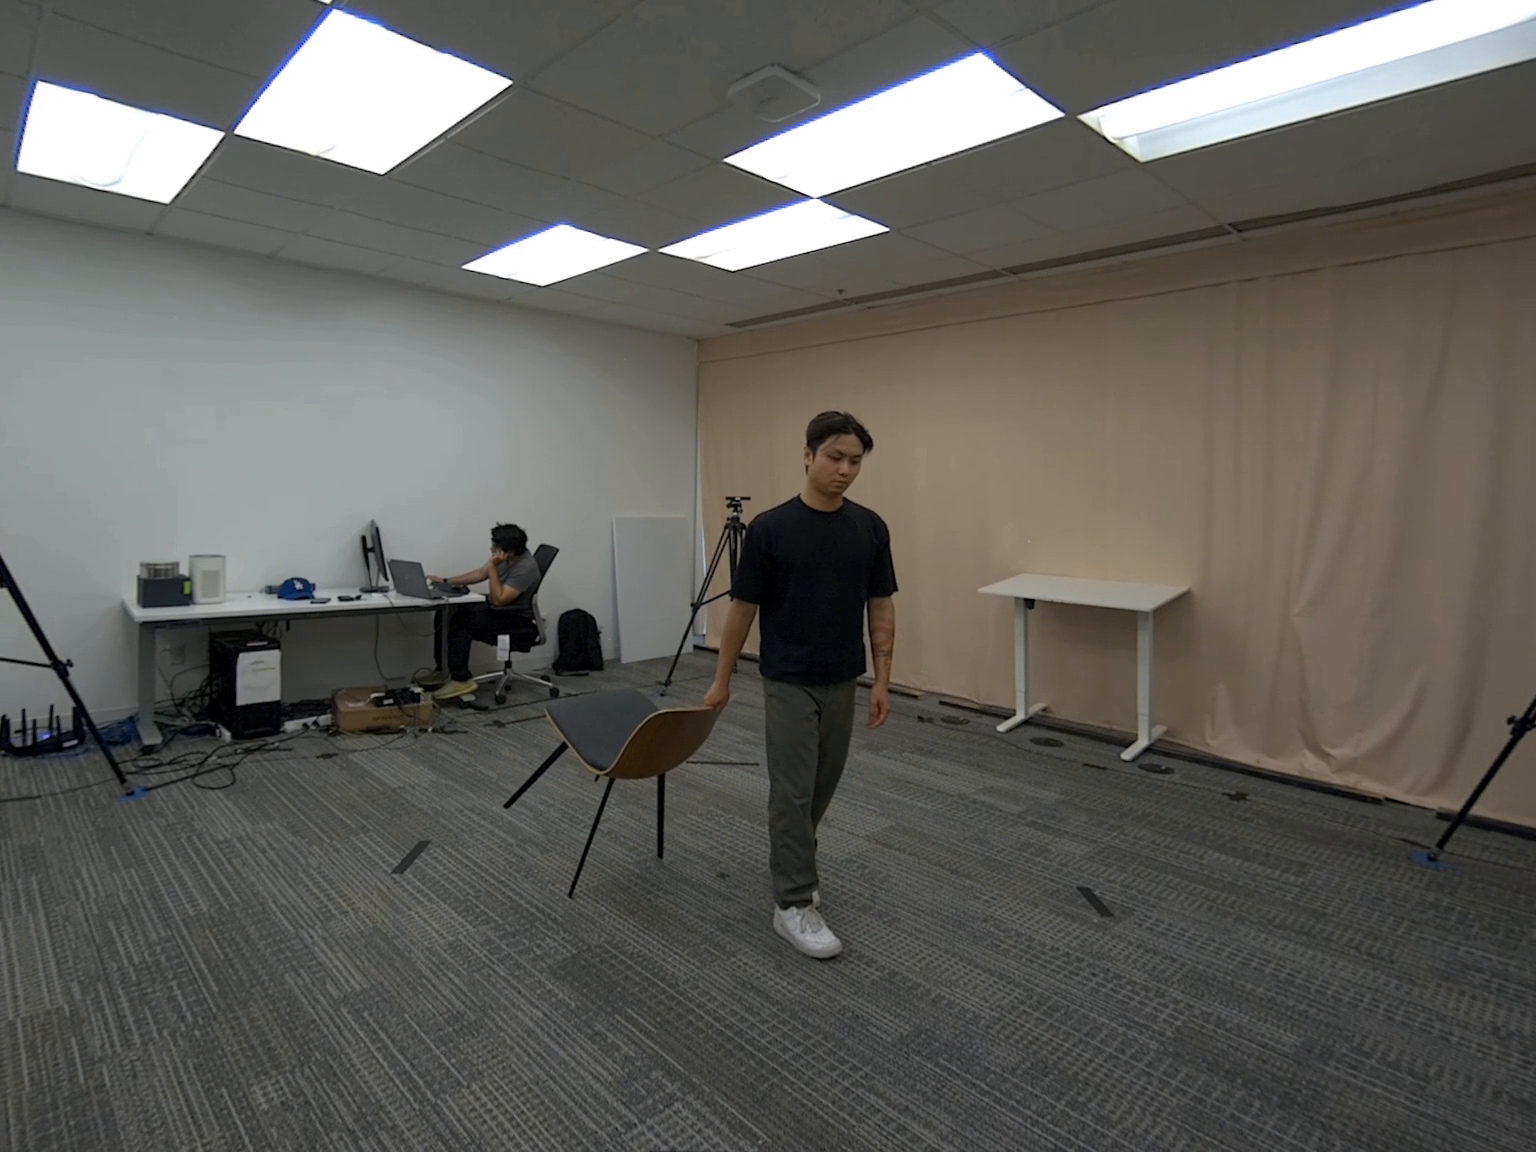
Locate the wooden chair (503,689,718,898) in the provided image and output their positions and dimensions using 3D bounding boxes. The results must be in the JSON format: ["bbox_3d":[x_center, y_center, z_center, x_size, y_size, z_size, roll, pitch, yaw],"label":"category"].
[{"bbox_3d":[-0.537,0.614,3.040,0.467,0.872,0.538,-3,39,-50],"label":"wooden chair"}]
